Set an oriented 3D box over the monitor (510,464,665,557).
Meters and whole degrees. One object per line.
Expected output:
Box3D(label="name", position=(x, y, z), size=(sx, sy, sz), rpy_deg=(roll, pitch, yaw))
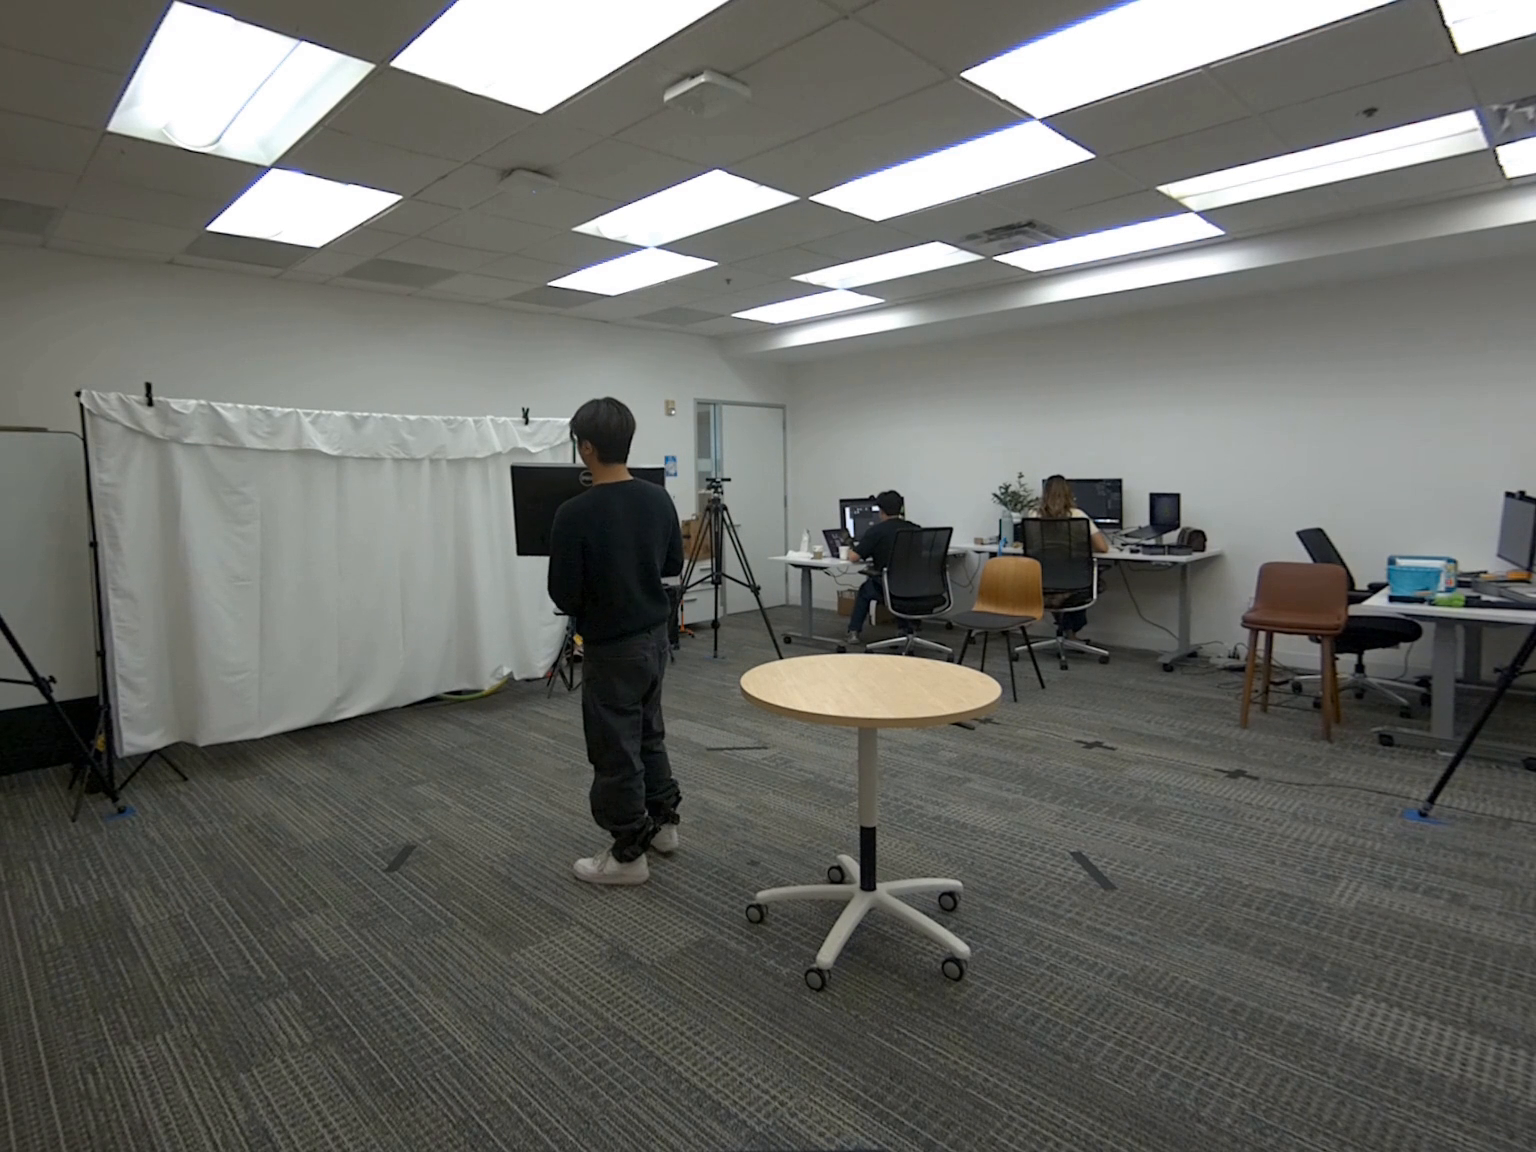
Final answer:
Box3D(label="monitor", position=(-0.652, -0.146, 3.141), size=(0.528, 0.513, 0.176), rpy_deg=(0, 6, -4))
